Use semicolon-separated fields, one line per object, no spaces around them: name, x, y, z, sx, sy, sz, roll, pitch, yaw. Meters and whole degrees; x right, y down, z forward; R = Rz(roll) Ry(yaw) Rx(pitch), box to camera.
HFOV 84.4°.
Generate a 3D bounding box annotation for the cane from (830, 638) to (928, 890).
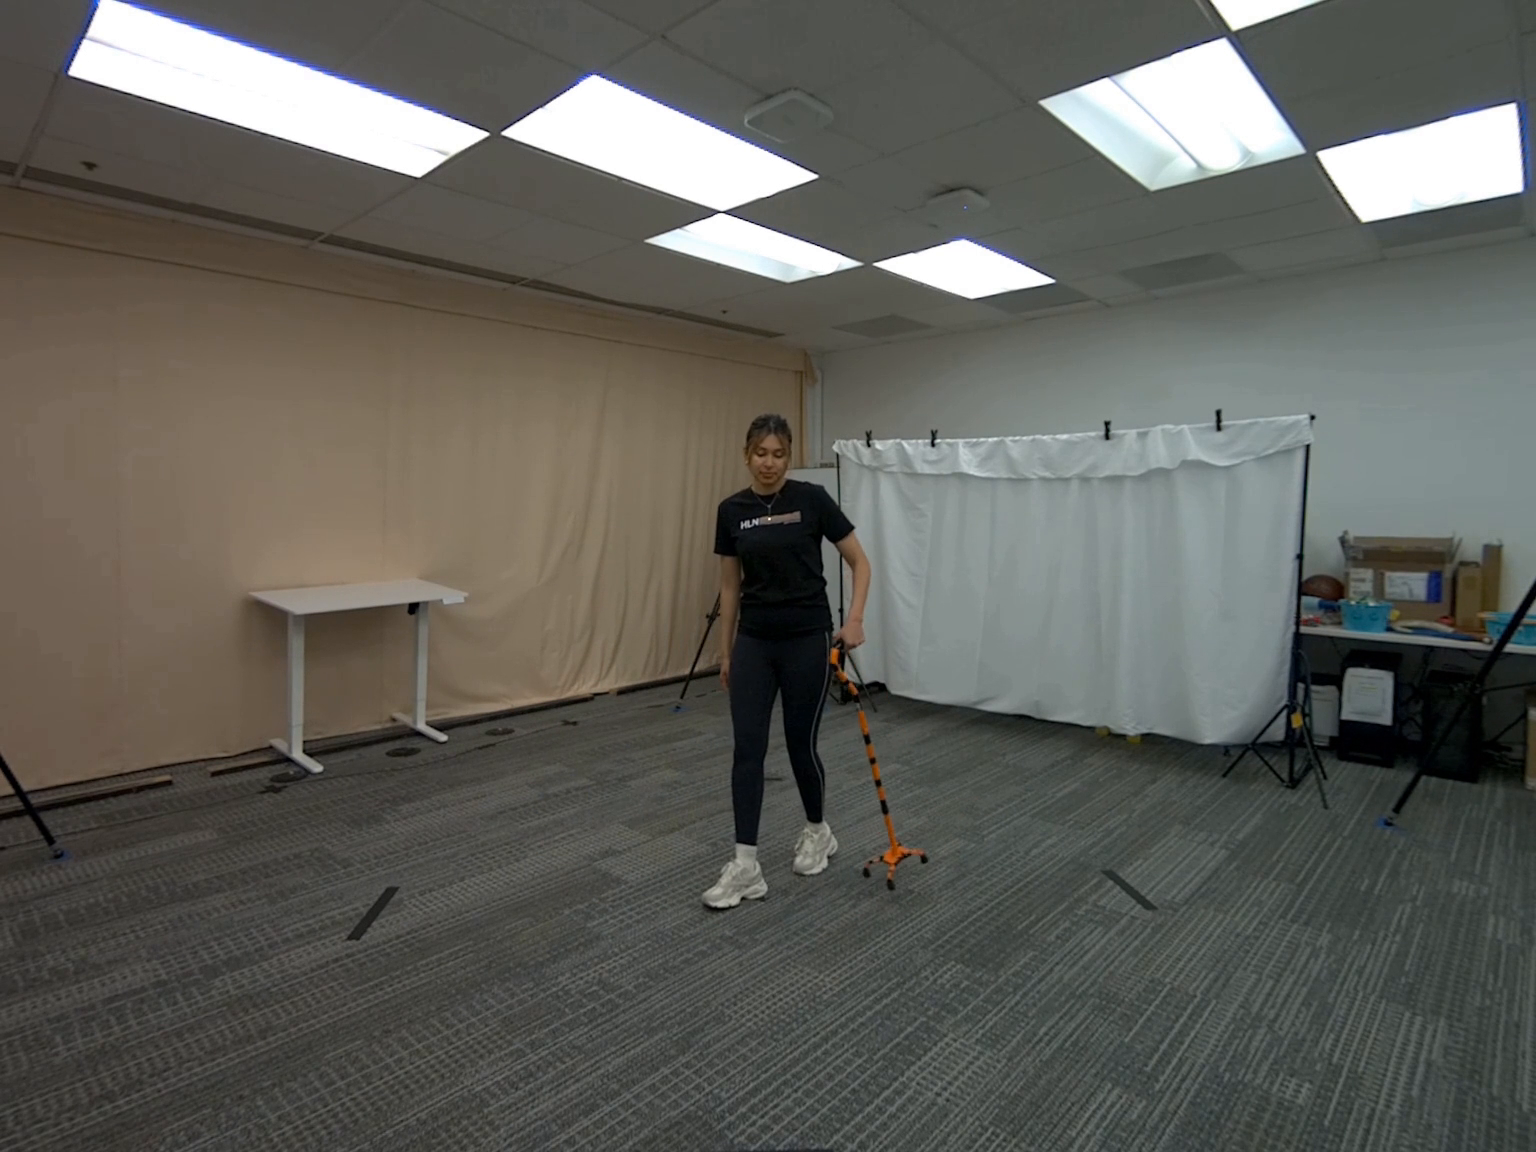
cane;0.357;0.640;2.959;0.202;0.898;0.156;-23;15;-37
